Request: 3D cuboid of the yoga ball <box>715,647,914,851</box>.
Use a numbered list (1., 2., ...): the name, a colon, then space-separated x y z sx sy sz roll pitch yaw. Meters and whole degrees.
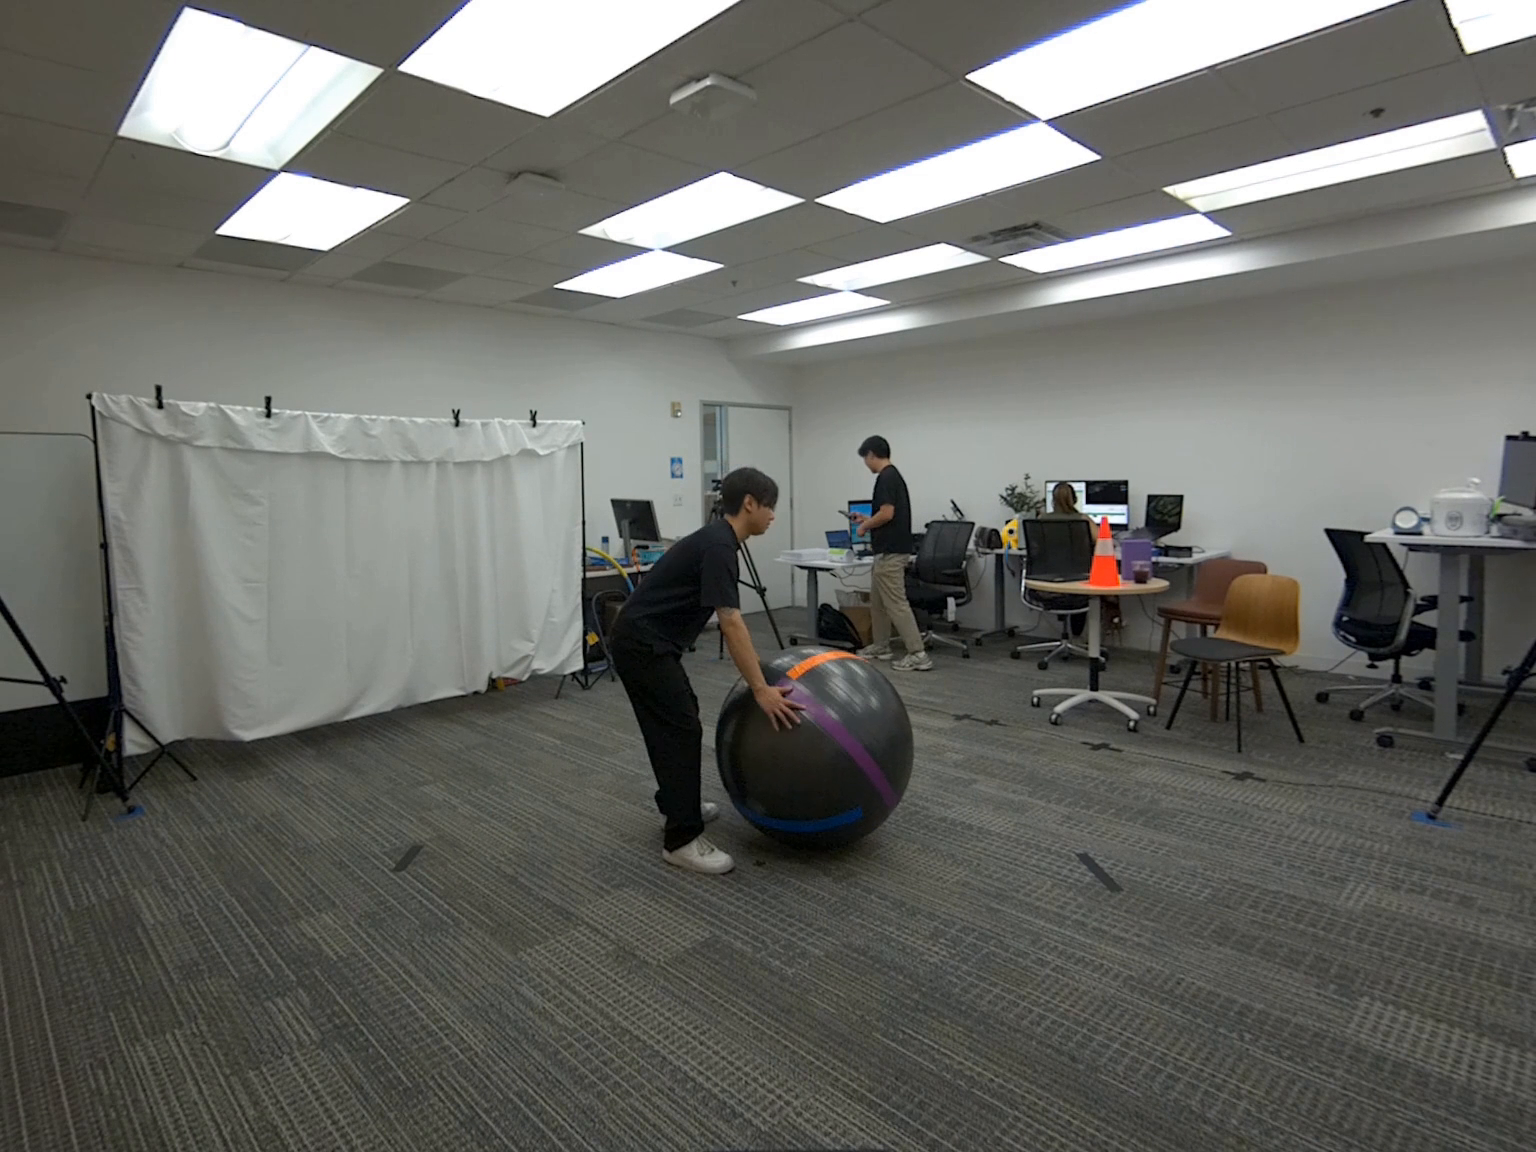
1. yoga ball: 0.179 0.655 3.294 0.757 0.755 0.762 -1 5 -2
